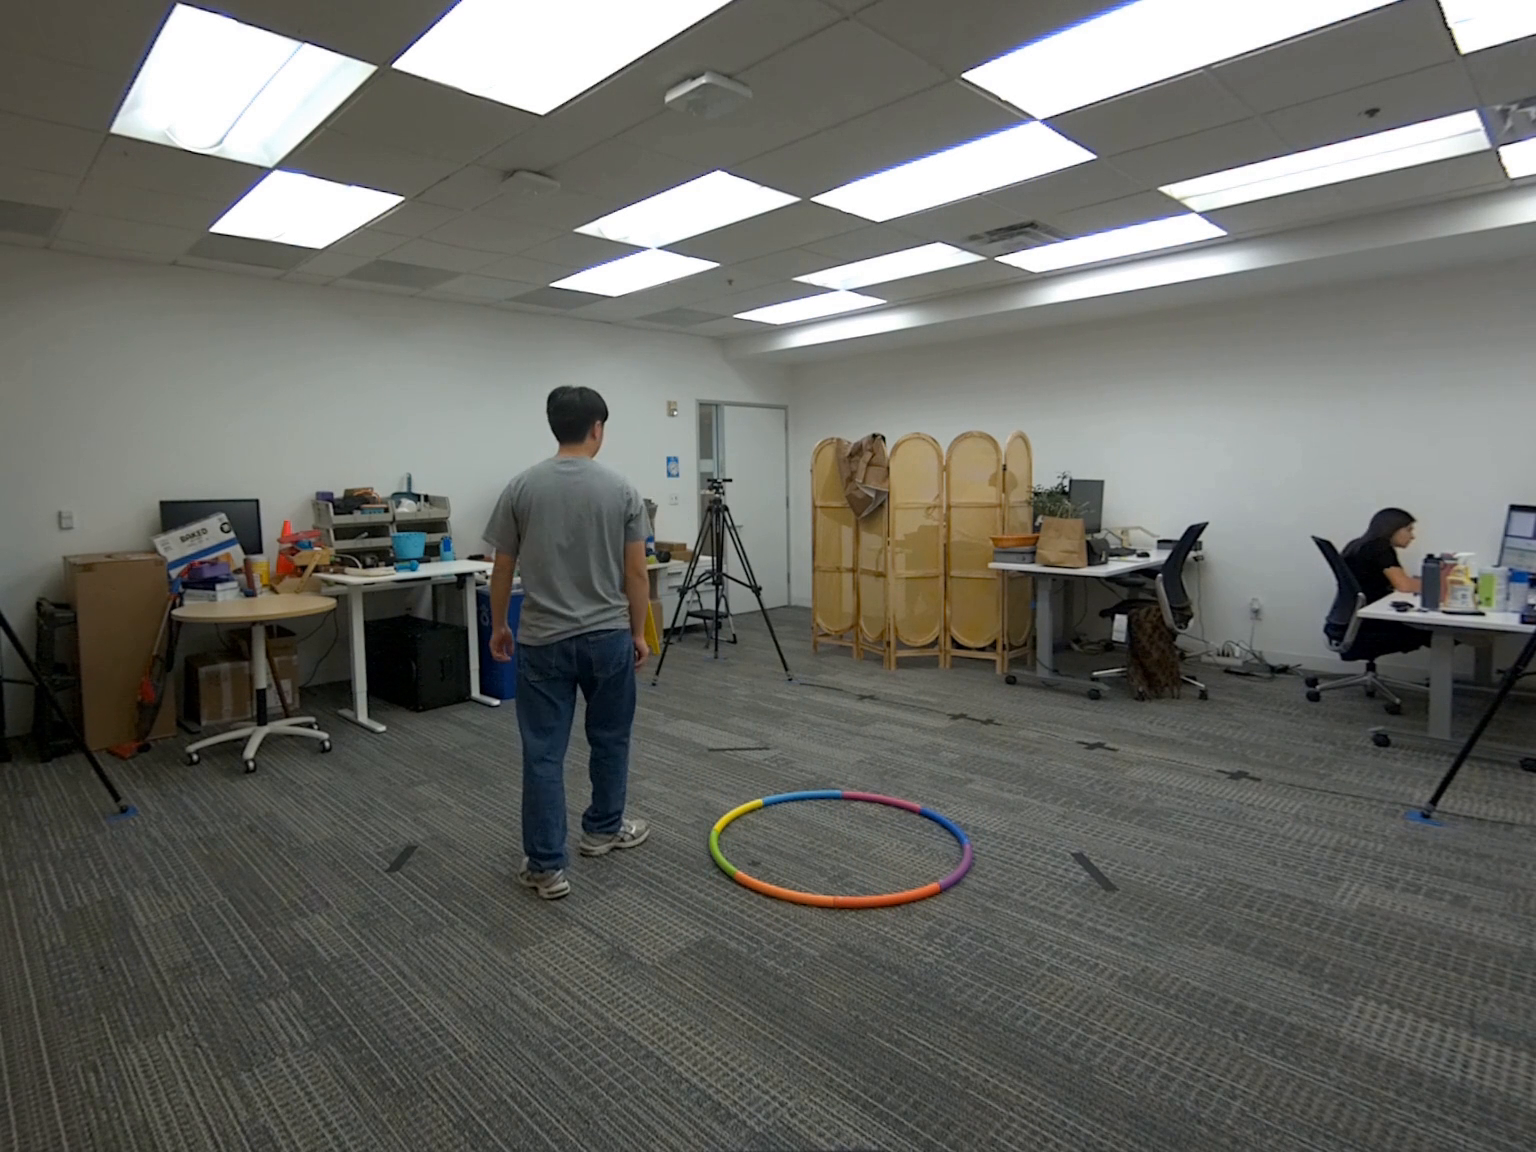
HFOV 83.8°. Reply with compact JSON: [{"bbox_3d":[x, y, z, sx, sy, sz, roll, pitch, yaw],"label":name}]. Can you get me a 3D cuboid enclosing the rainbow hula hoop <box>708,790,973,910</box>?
[{"bbox_3d":[0.260,0.993,3.248,0.978,0.035,0.984,-1,7,-2],"label":"rainbow hula hoop"}]
